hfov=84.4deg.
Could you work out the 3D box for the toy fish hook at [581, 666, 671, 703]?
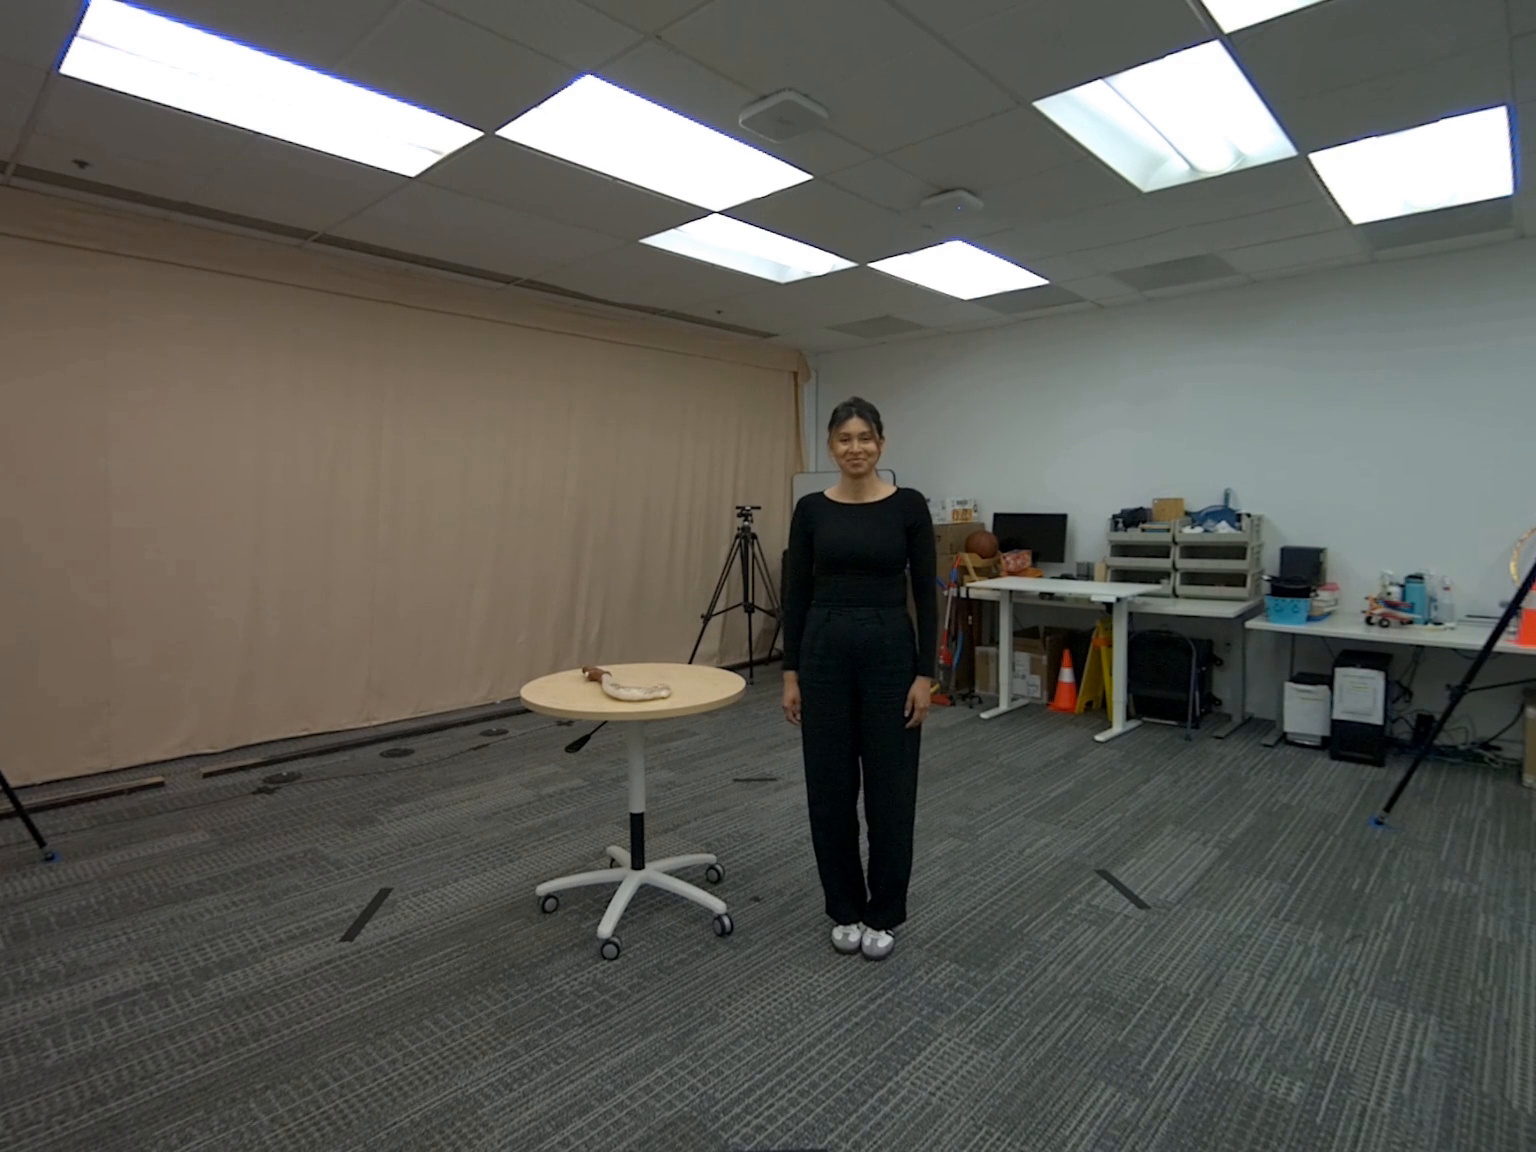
[{"bbox_3d":[-0.486,0.365,2.858,0.218,0.048,0.521,7,1,-29],"label":"toy fish hook"}]
